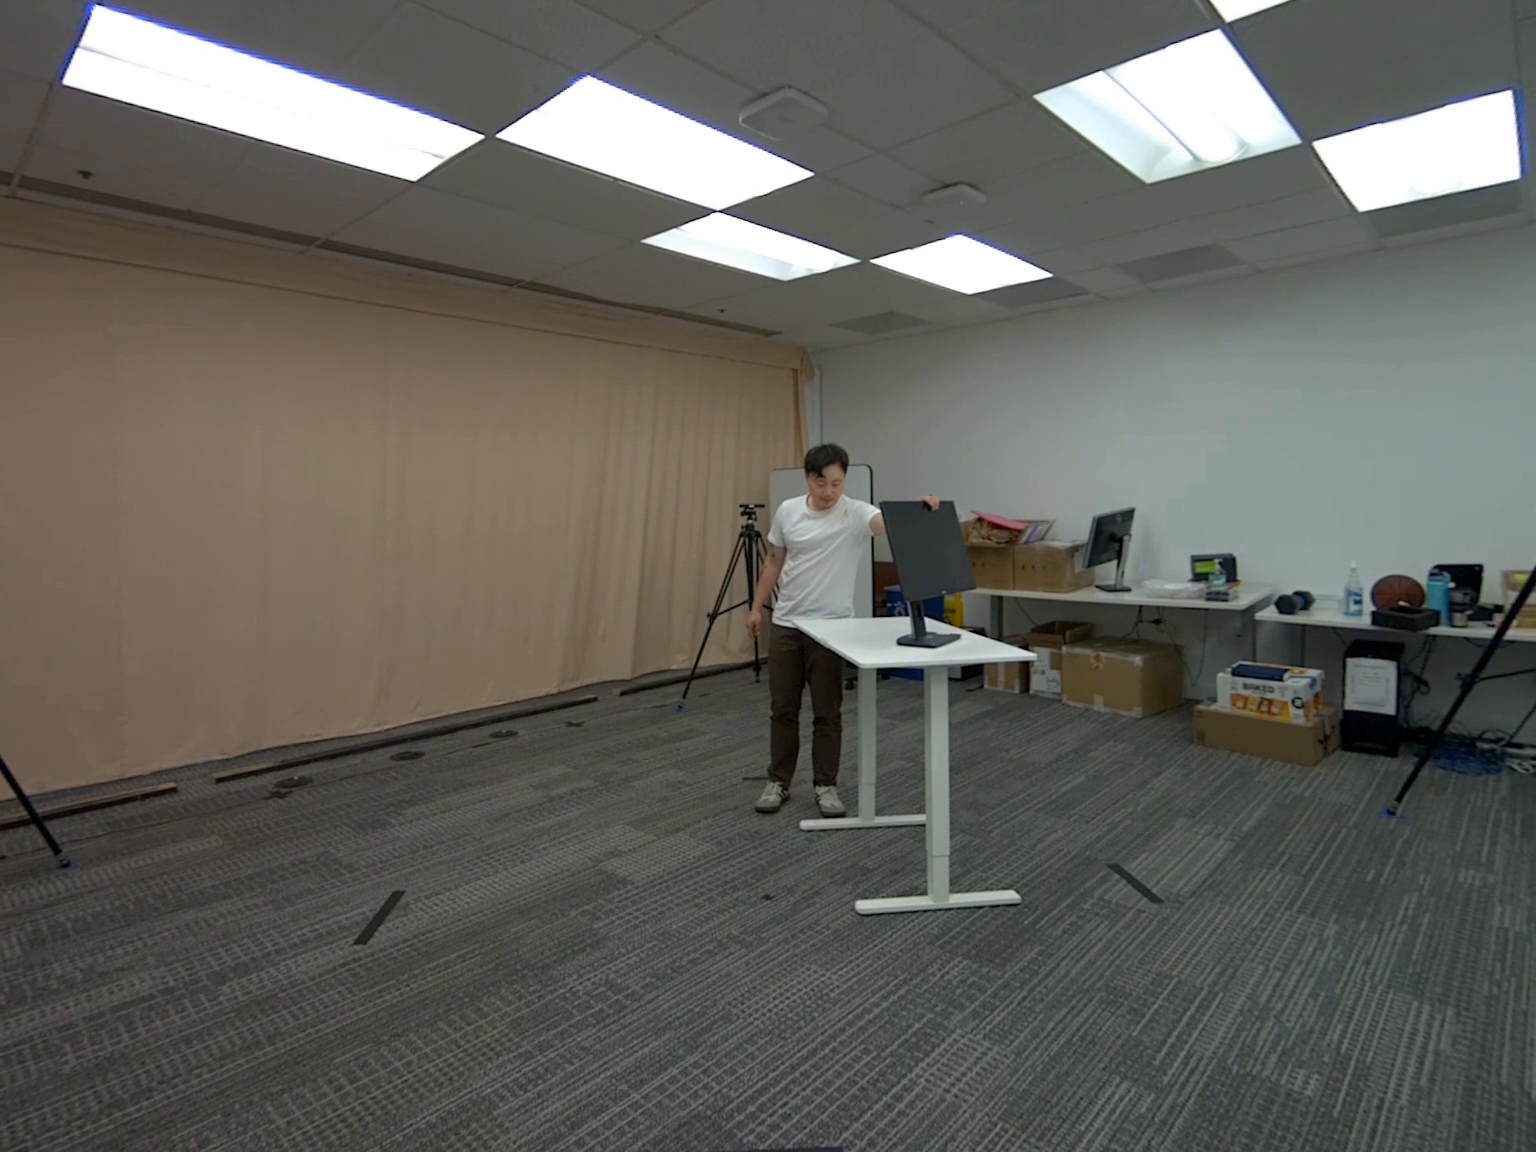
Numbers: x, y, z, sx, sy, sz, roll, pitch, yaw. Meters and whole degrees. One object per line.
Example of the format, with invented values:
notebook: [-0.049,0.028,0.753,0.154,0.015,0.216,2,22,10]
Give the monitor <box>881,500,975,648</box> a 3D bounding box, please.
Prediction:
monitor: [0.581,-0.011,3.076,0.193,0.522,0.523,-1,3,37]
